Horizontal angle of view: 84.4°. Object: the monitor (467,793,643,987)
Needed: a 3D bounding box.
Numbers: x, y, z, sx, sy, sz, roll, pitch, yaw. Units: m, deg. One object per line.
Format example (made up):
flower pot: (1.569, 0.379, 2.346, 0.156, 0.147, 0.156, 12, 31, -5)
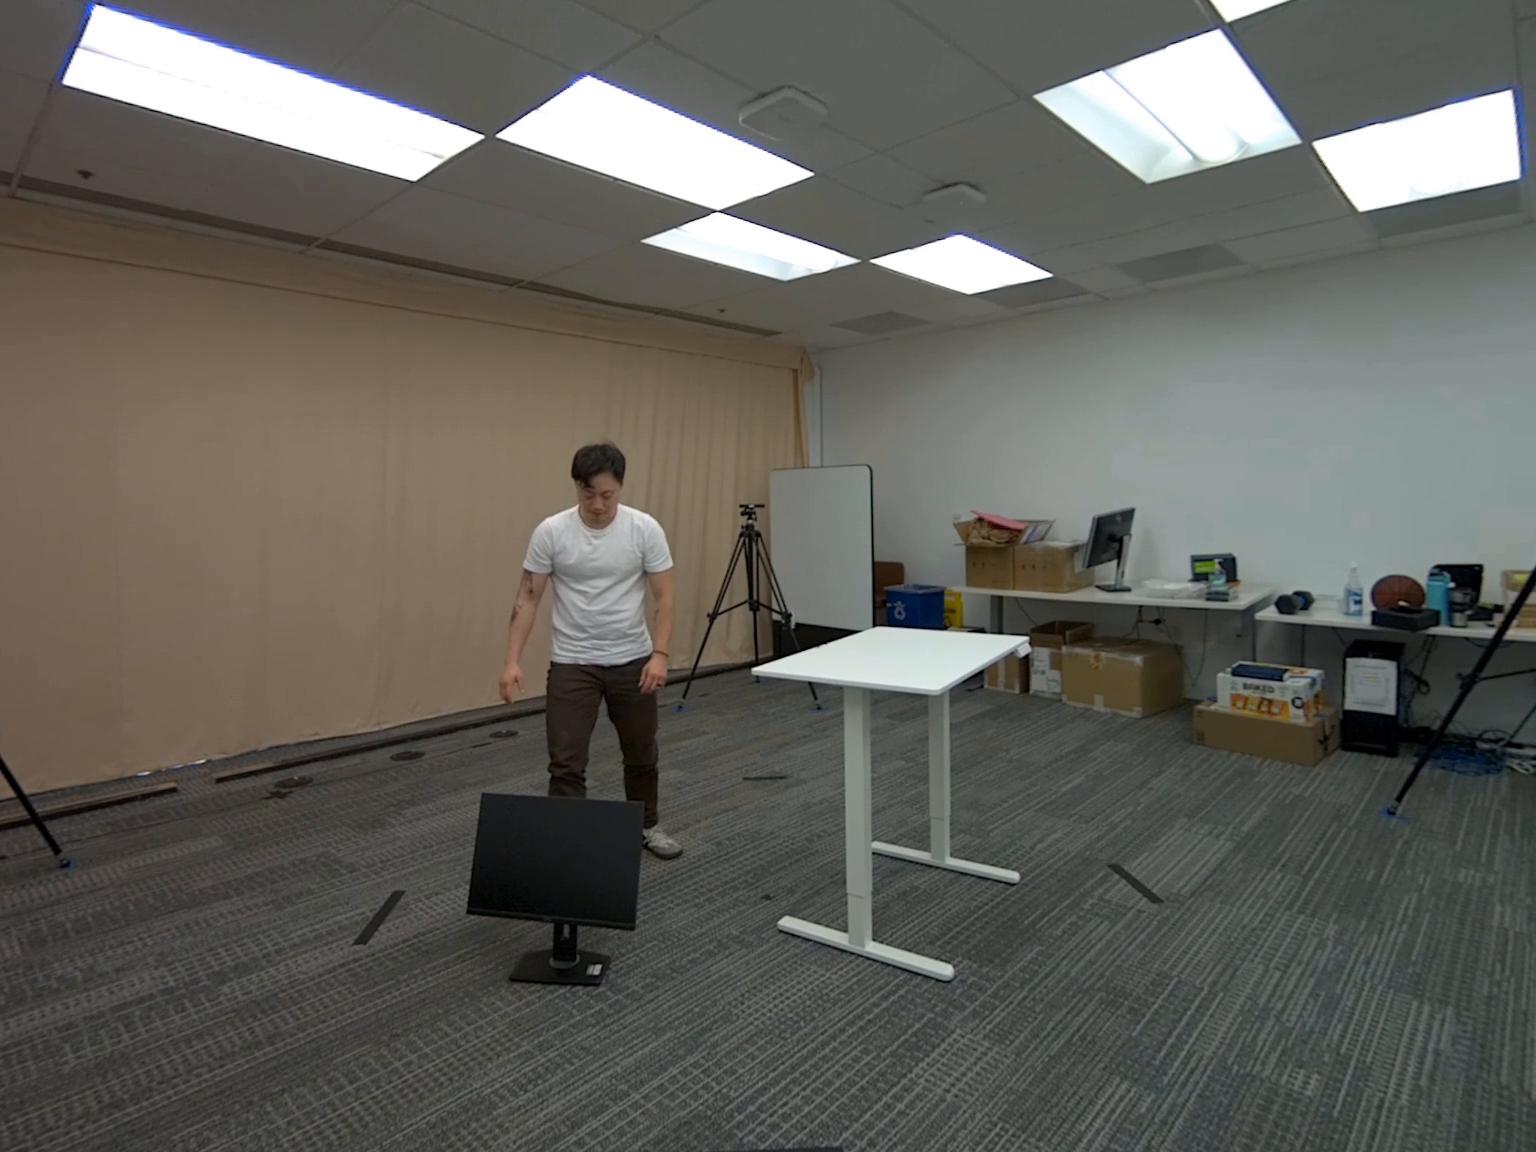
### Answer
monitor: (-0.631, 0.930, 2.549, 0.545, 0.523, 0.185, -2, 0, 10)
